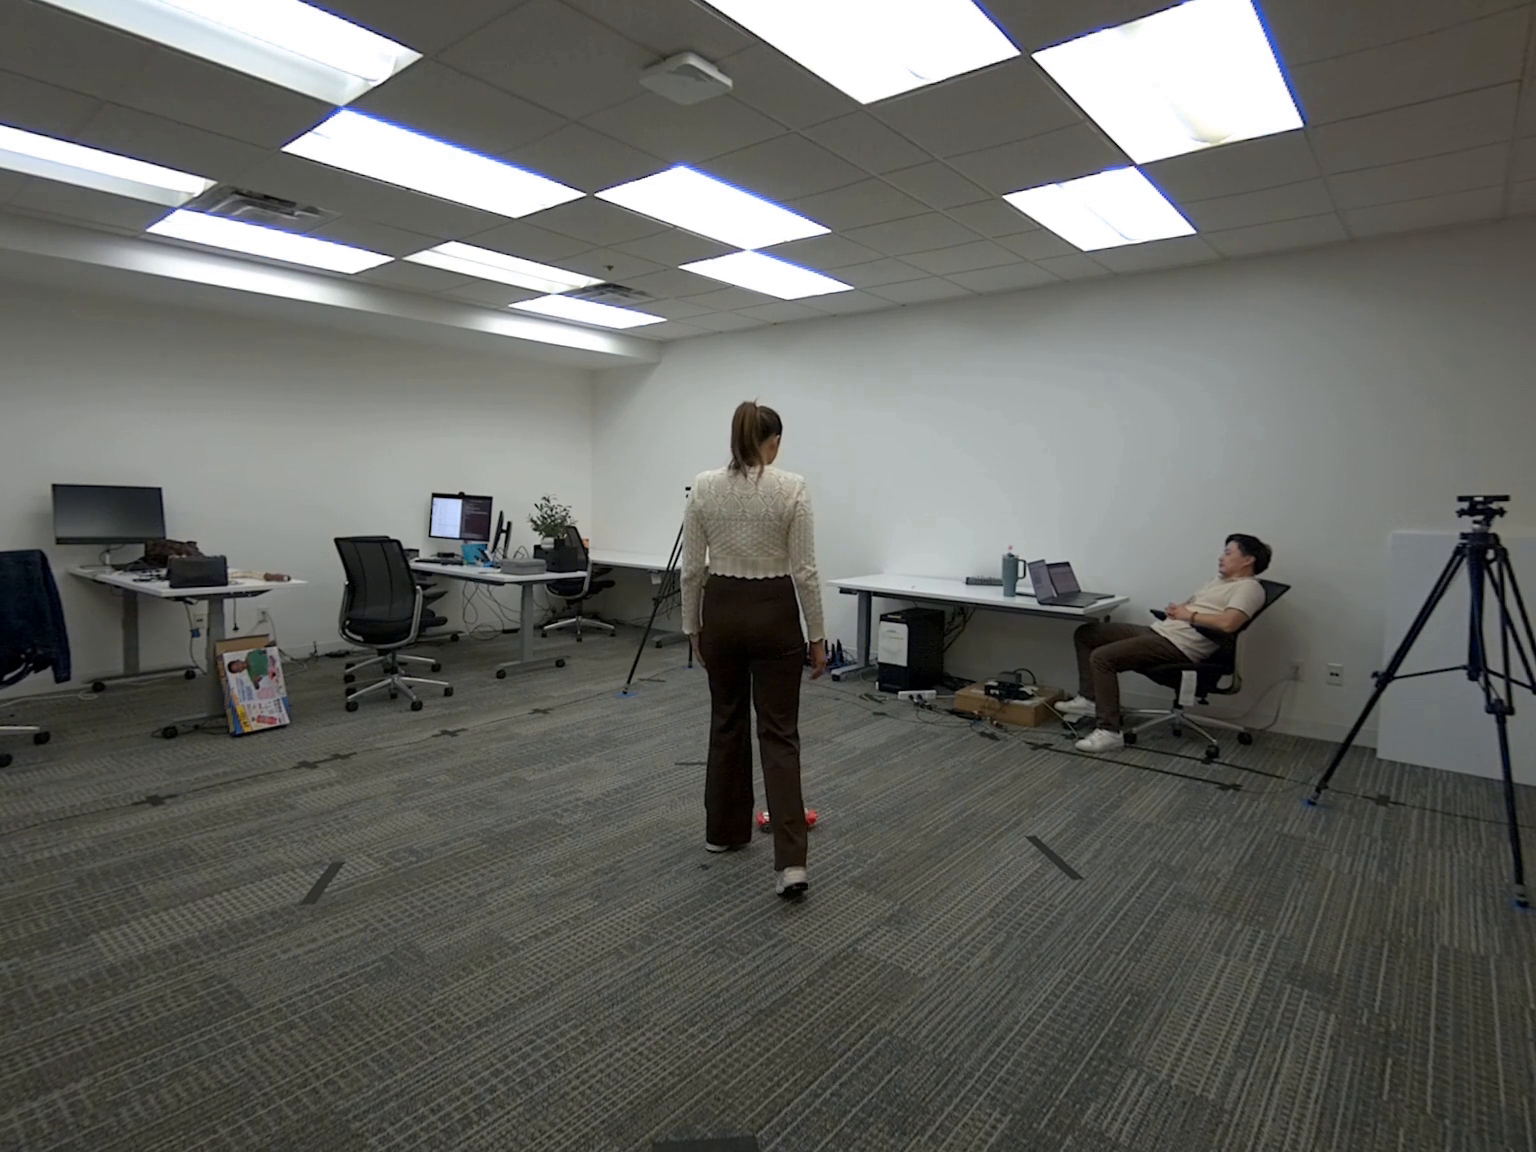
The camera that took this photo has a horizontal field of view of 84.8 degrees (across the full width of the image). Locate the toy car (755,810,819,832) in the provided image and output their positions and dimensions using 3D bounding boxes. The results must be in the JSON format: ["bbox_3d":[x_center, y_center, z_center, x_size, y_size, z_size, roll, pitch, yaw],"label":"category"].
[{"bbox_3d":[0.075,0.998,3.507,0.253,0.083,0.132,-11,6,-6],"label":"toy car"}]
